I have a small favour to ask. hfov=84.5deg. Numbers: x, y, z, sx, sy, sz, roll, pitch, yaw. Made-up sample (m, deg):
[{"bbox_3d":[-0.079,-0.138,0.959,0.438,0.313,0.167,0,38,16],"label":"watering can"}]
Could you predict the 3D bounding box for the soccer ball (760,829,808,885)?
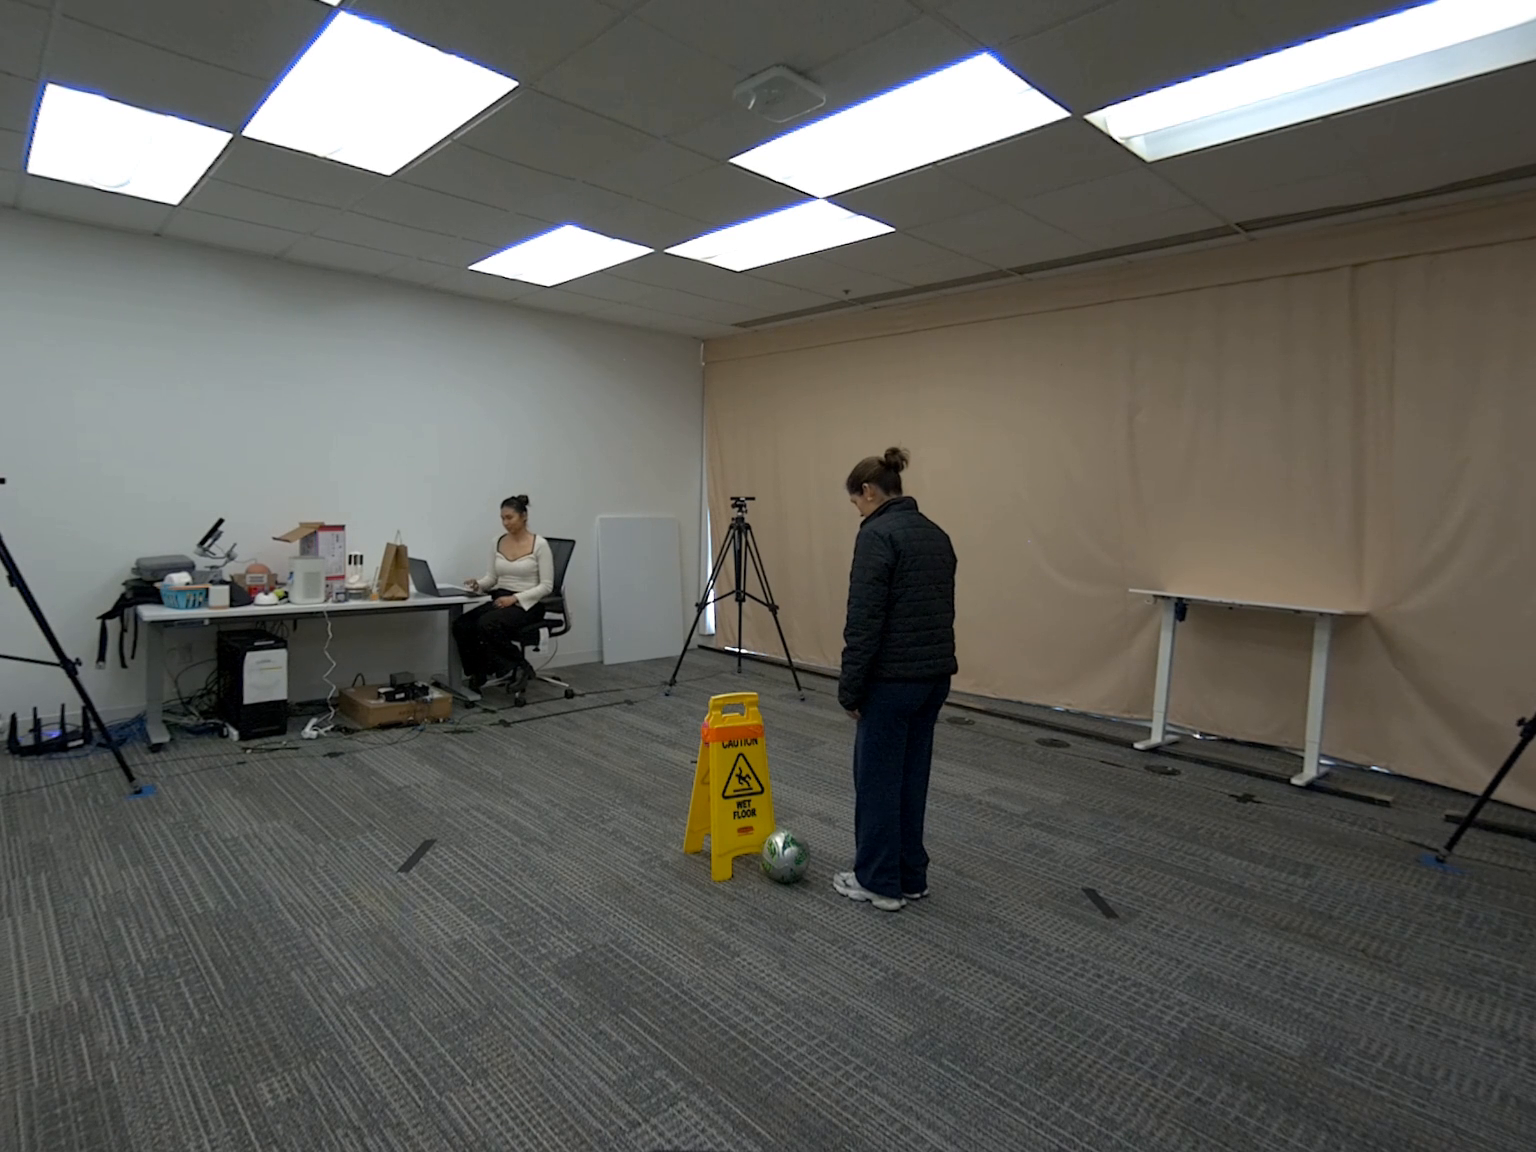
[{"bbox_3d":[0.067,1.013,3.069,0.187,0.187,0.188,1,4,-1],"label":"soccer ball"}]
